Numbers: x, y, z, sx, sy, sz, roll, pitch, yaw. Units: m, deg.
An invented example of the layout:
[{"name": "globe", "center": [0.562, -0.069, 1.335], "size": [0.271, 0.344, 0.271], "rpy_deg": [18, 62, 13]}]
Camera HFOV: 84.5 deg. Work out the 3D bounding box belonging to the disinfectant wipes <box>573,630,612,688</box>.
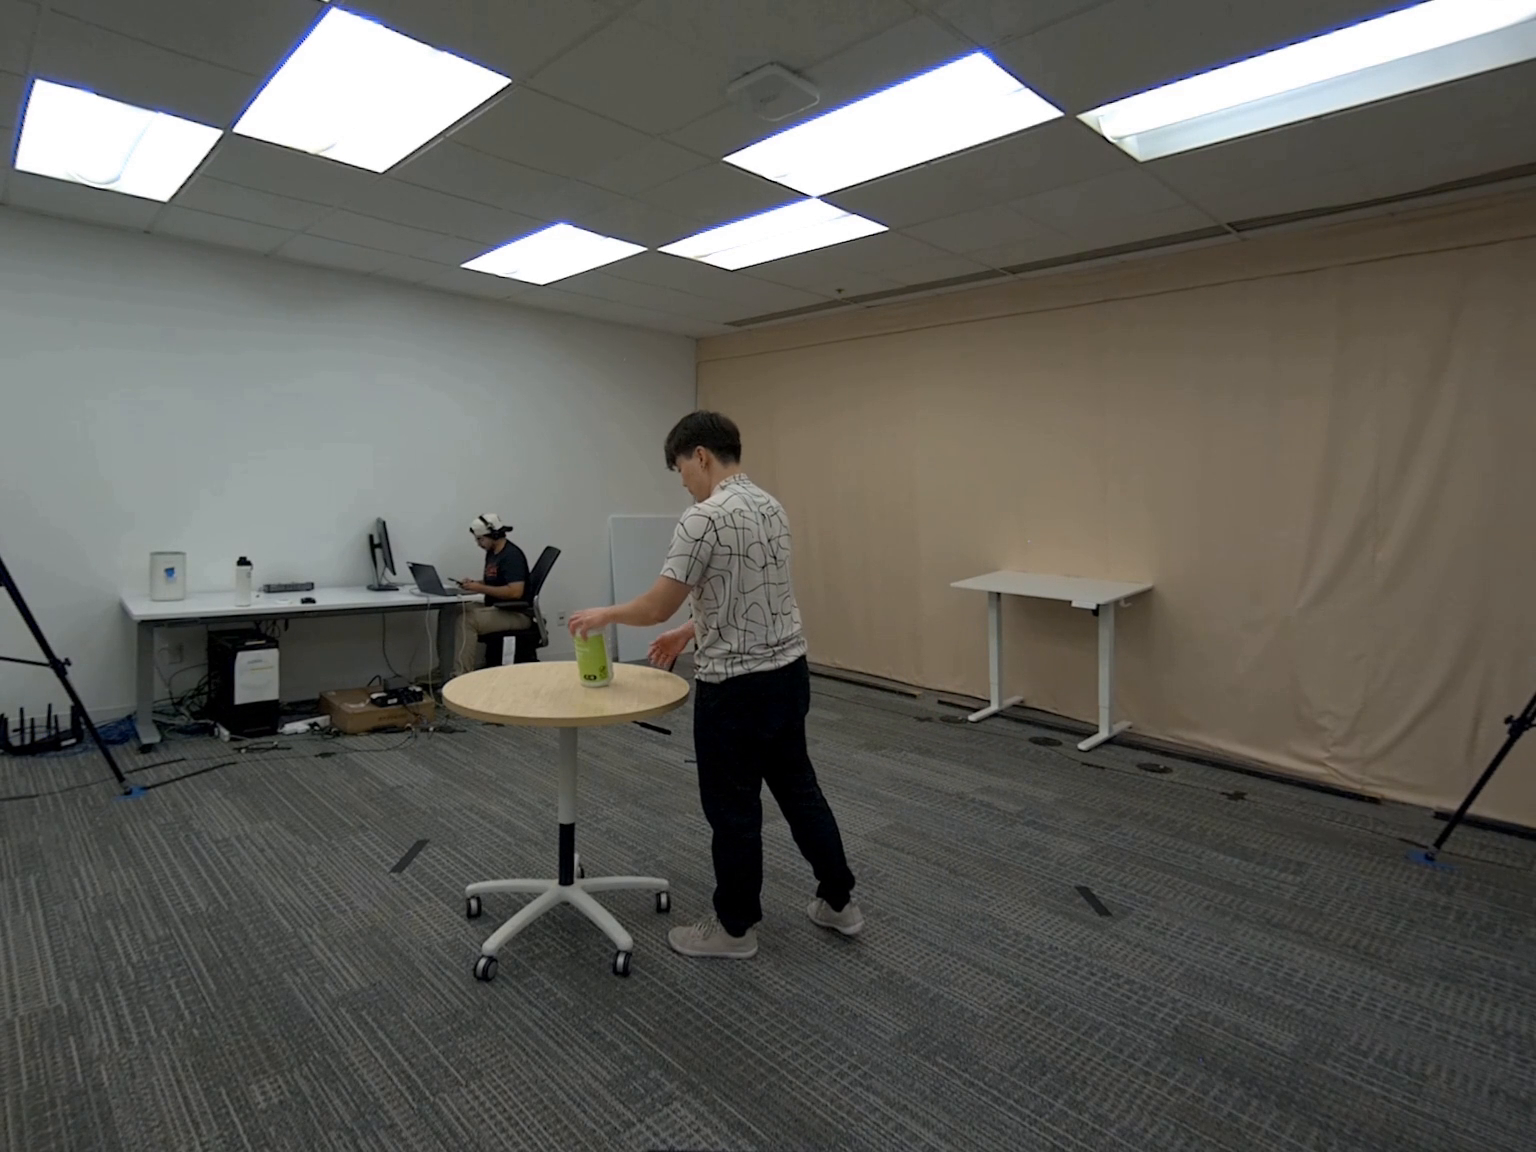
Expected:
[{"name": "disinfectant wipes", "center": [-0.553, 0.233, 2.667], "size": [0.118, 0.214, 0.119], "rpy_deg": [-4, 20, 0]}]
